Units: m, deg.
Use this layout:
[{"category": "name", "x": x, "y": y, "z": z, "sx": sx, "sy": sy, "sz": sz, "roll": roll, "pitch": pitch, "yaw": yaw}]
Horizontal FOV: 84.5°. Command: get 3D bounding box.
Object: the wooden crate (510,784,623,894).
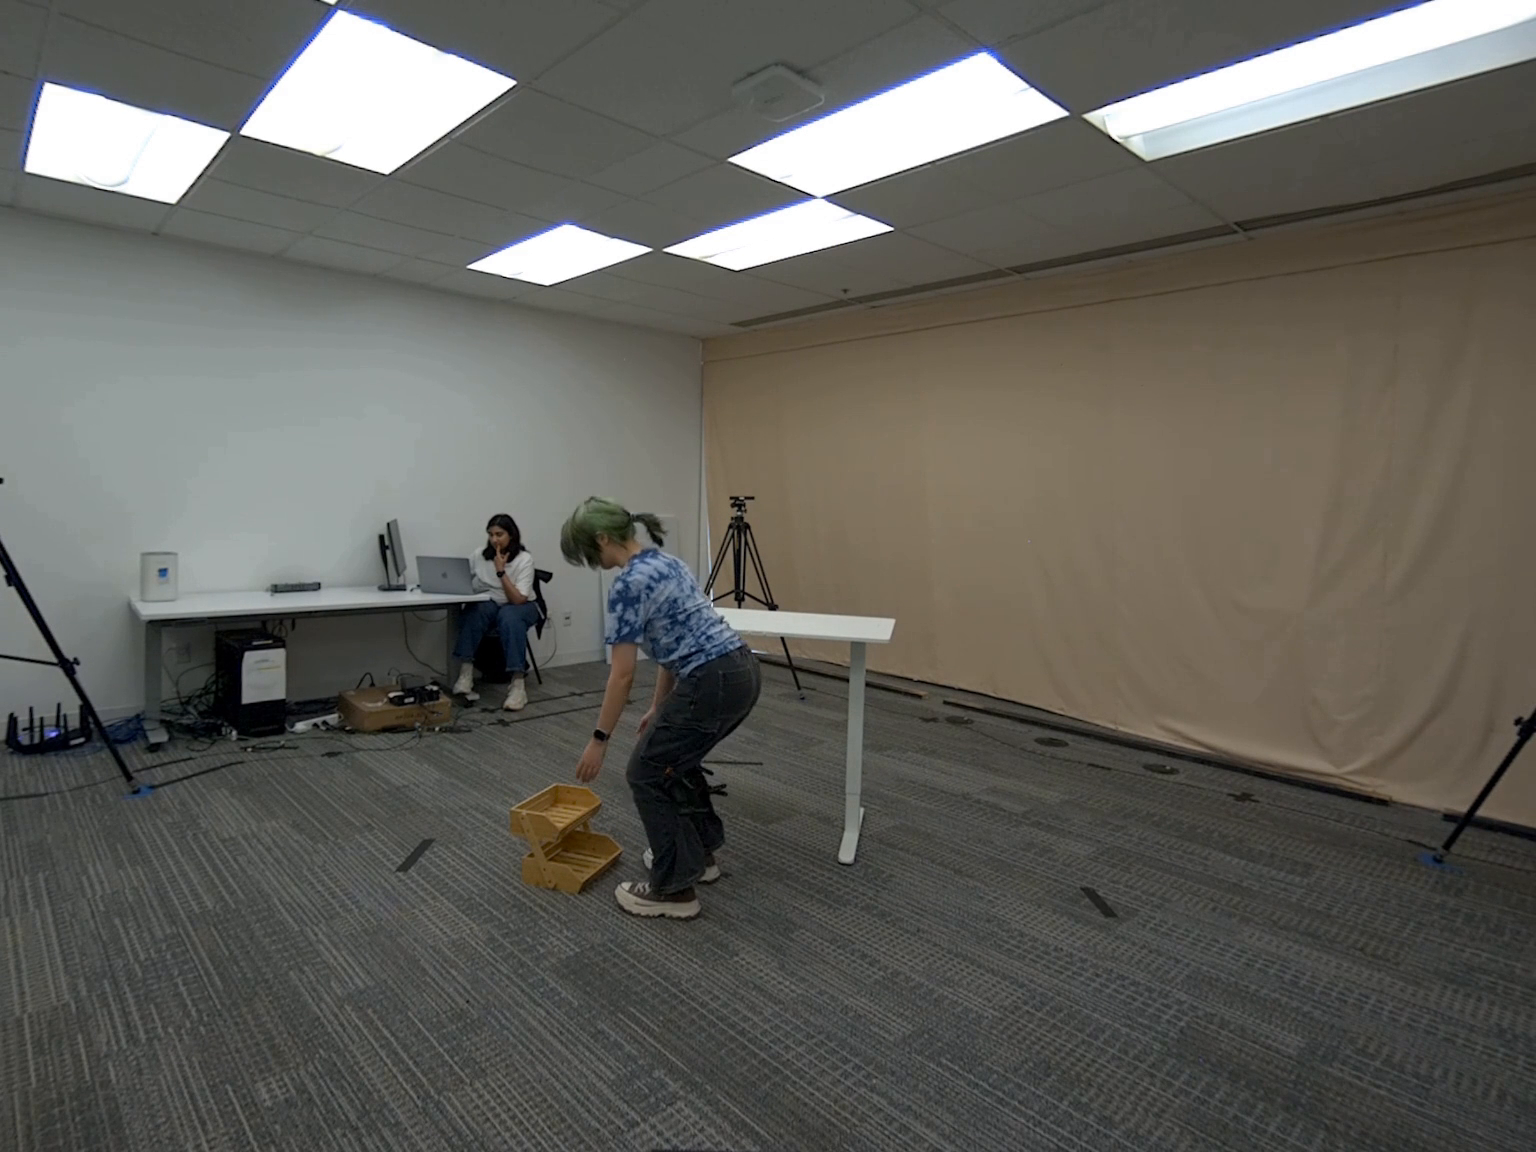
[{"category": "wooden crate", "x": -0.727, "y": 0.952, "z": 3.106, "sx": 0.307, "sy": 0.272, "sz": 0.320, "roll": 3, "pitch": 5, "yaw": 19}]
